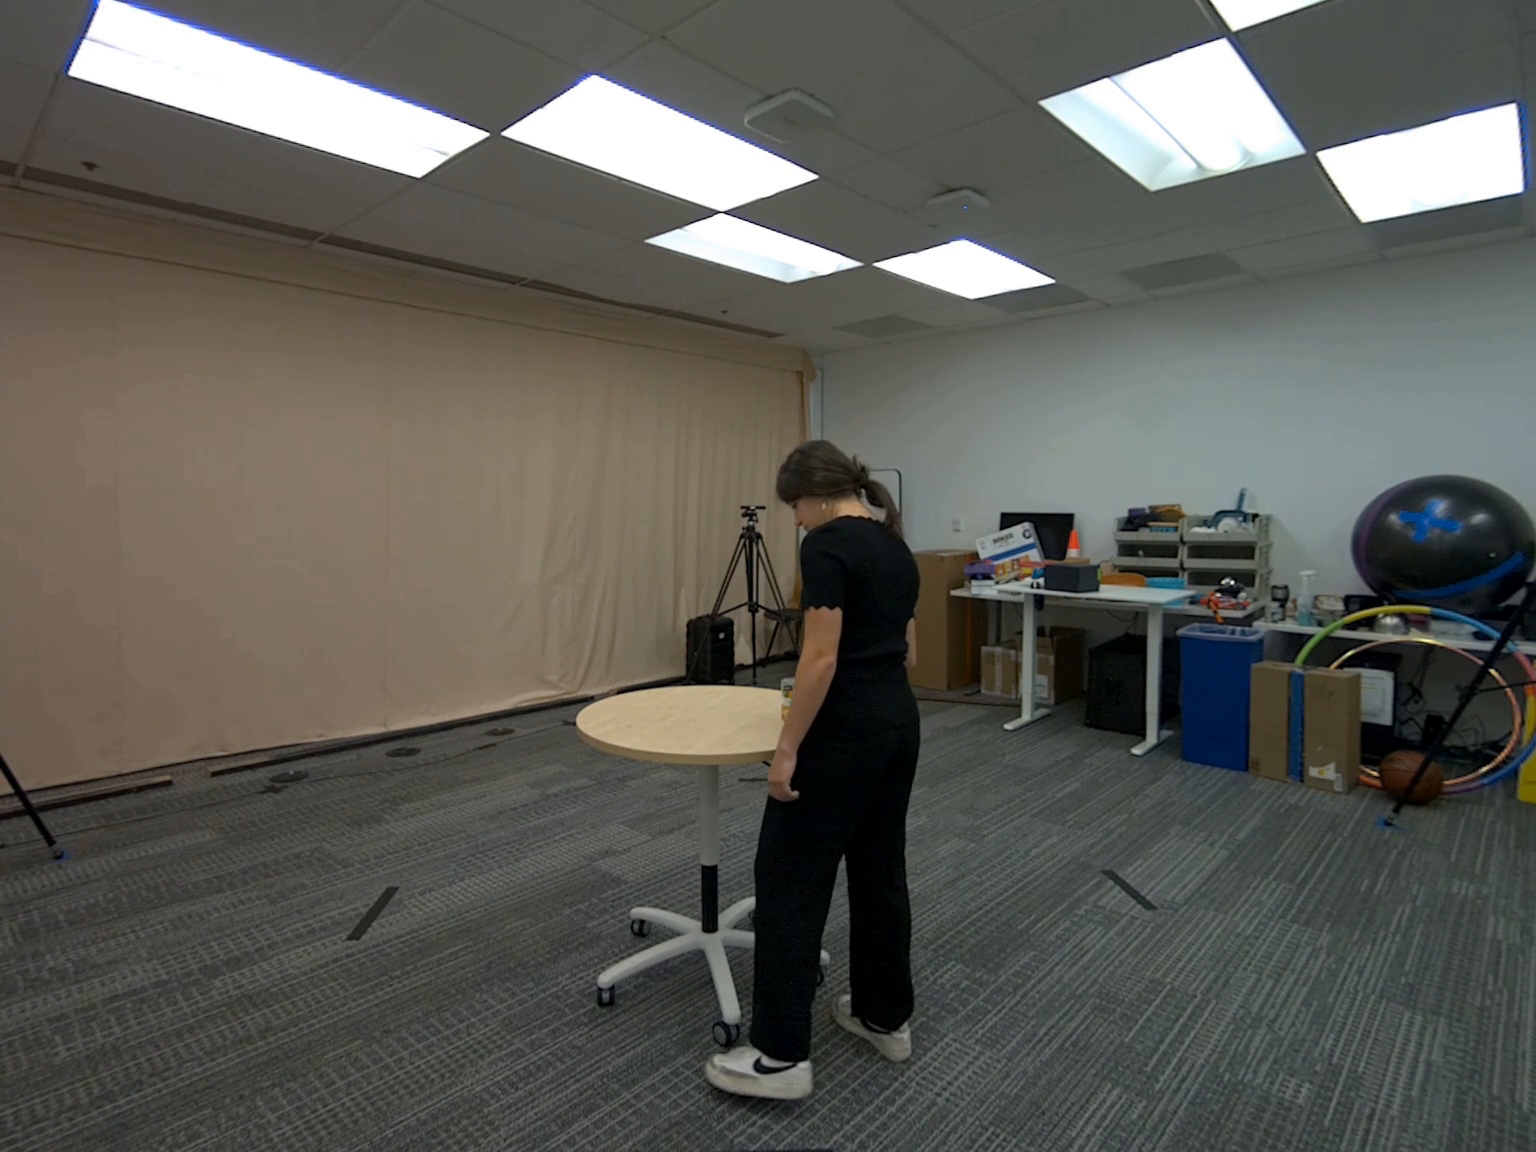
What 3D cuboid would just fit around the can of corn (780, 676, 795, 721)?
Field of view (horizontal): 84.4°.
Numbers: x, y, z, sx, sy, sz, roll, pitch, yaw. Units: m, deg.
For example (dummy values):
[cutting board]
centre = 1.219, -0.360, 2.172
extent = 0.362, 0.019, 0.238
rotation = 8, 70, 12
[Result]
[can of corn]
centre = 0.086, 0.356, 2.392
extent = 0.074, 0.111, 0.074
rotation = 3, 3, -2
